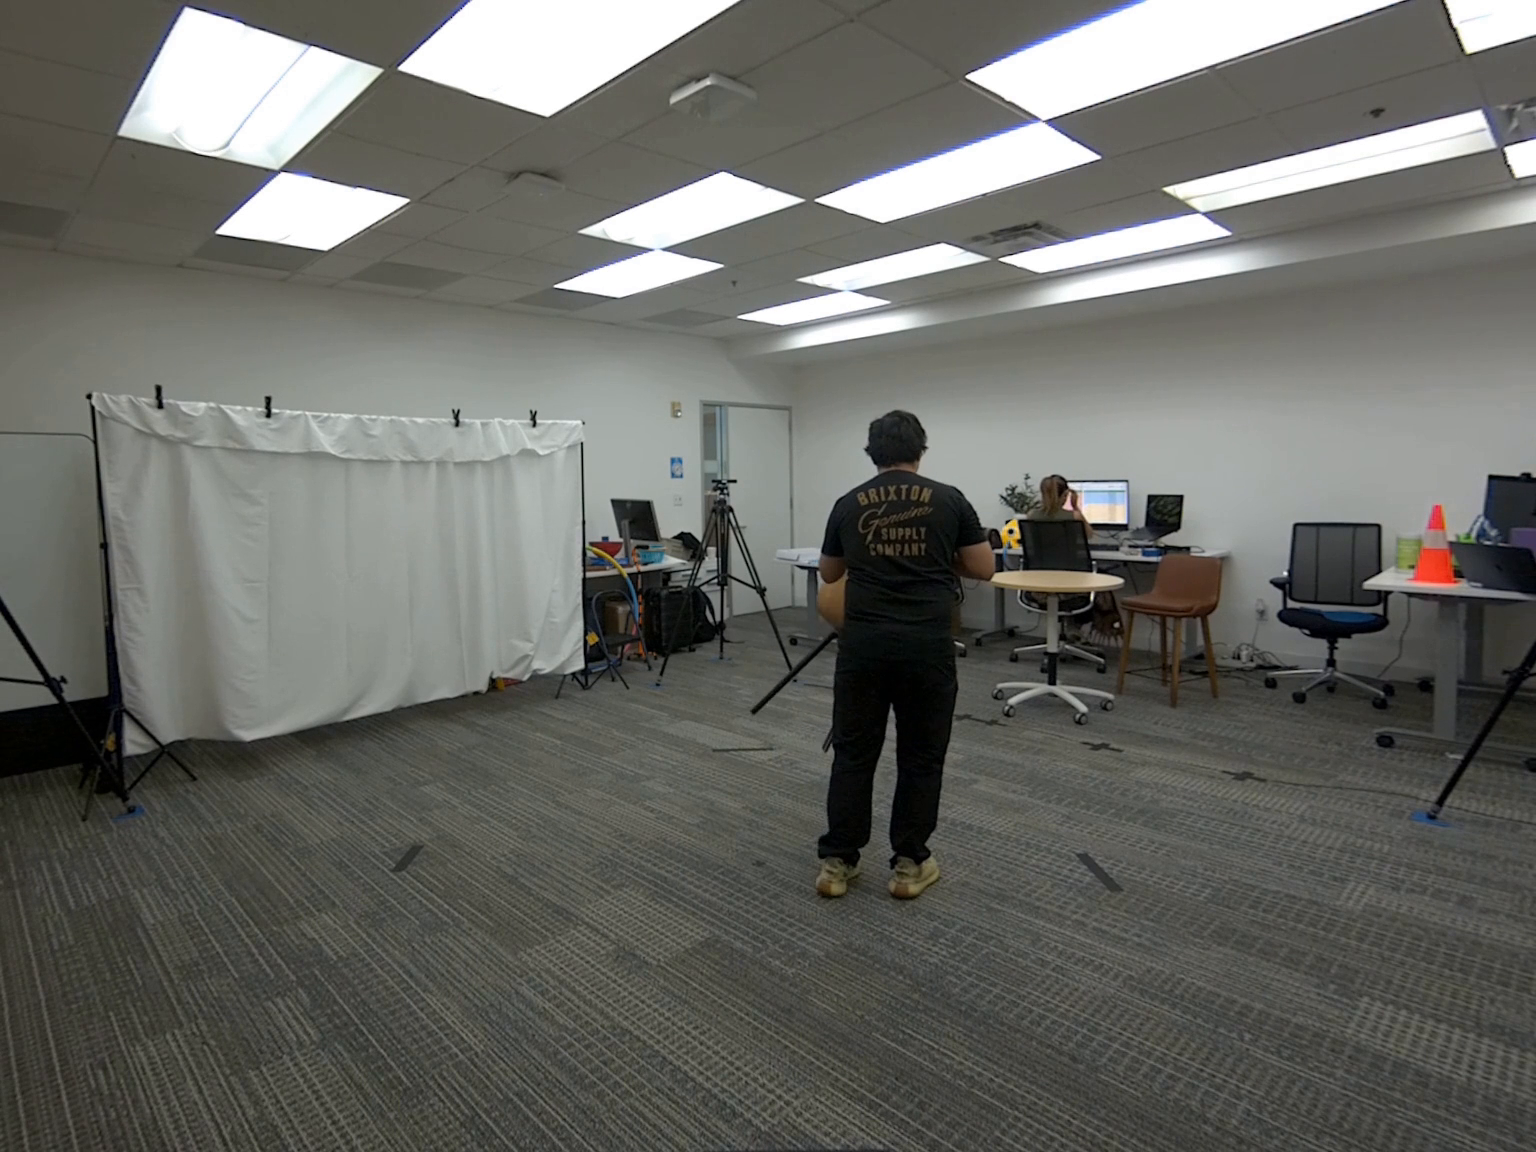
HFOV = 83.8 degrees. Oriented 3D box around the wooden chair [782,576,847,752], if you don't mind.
[{"bbox_3d":[0.406,0.291,3.324,0.505,0.880,0.494,28,-8,-35],"label":"wooden chair"}]
